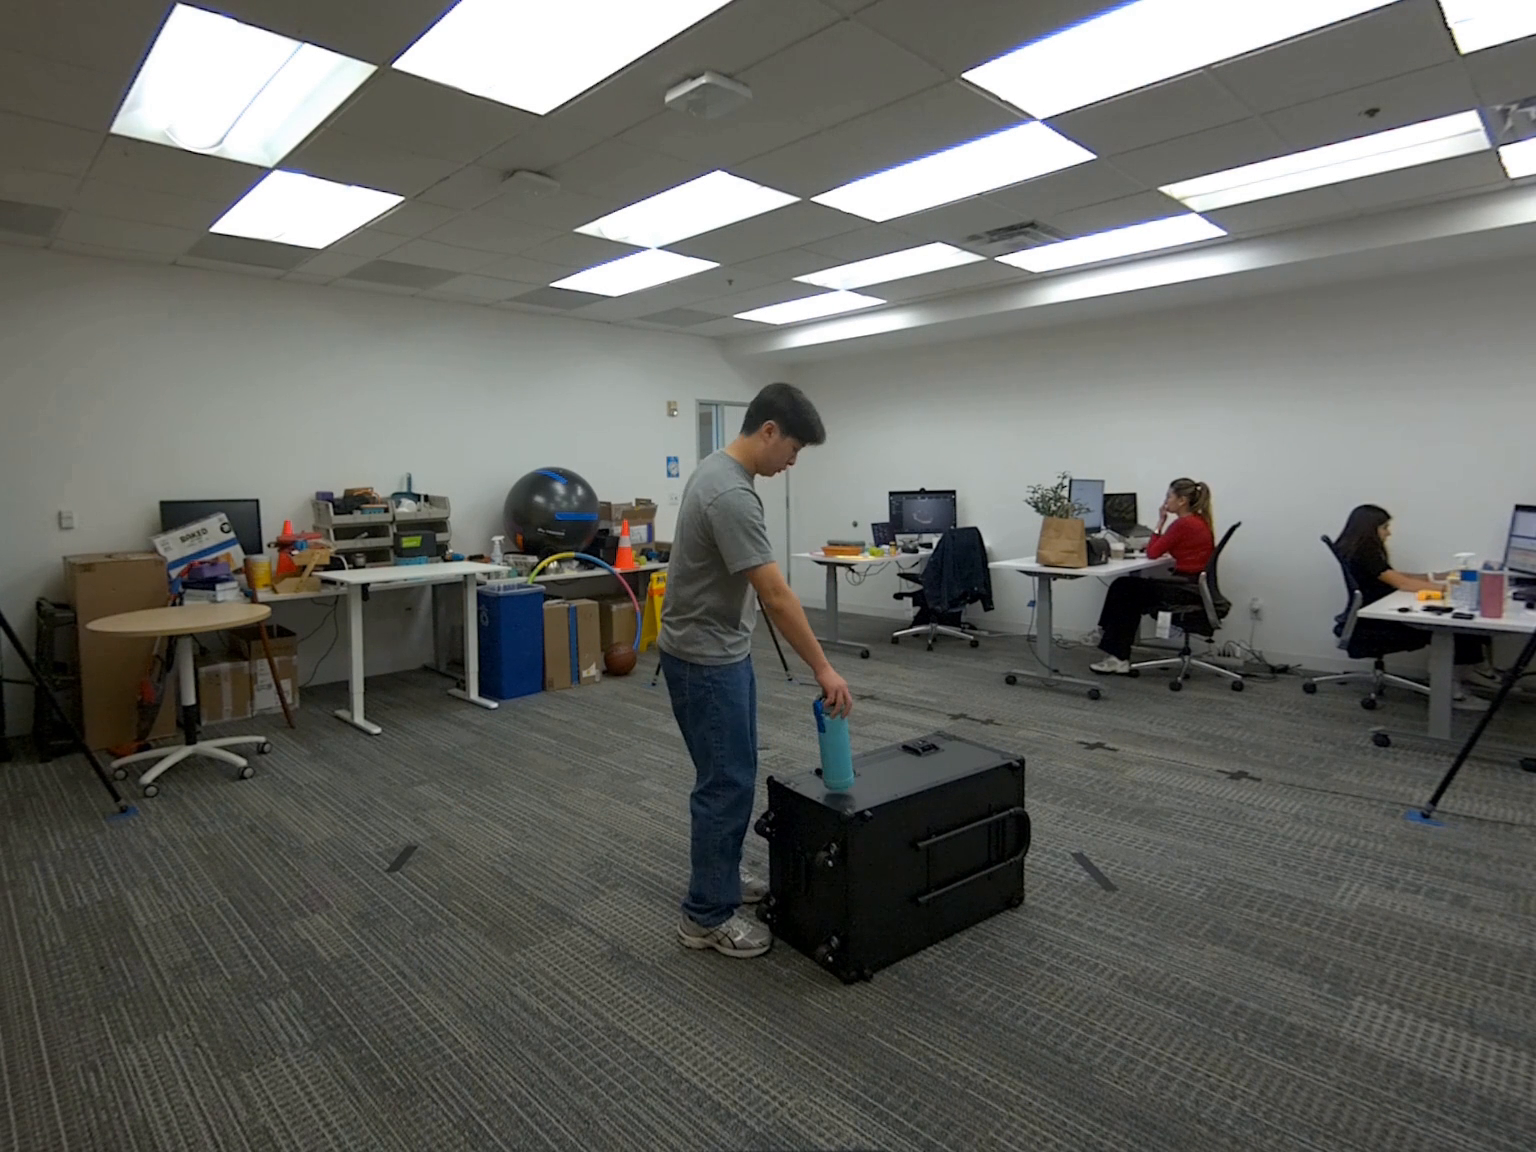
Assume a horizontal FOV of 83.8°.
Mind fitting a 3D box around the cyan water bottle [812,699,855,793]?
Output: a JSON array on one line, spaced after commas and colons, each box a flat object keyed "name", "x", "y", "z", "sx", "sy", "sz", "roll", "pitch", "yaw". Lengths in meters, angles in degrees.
[{"name": "cyan water bottle", "x": 0.172, "y": 0.471, "z": 2.474, "sx": 0.092, "sy": 0.280, "sz": 0.093, "roll": -6, "pitch": 10, "yaw": 0}]
